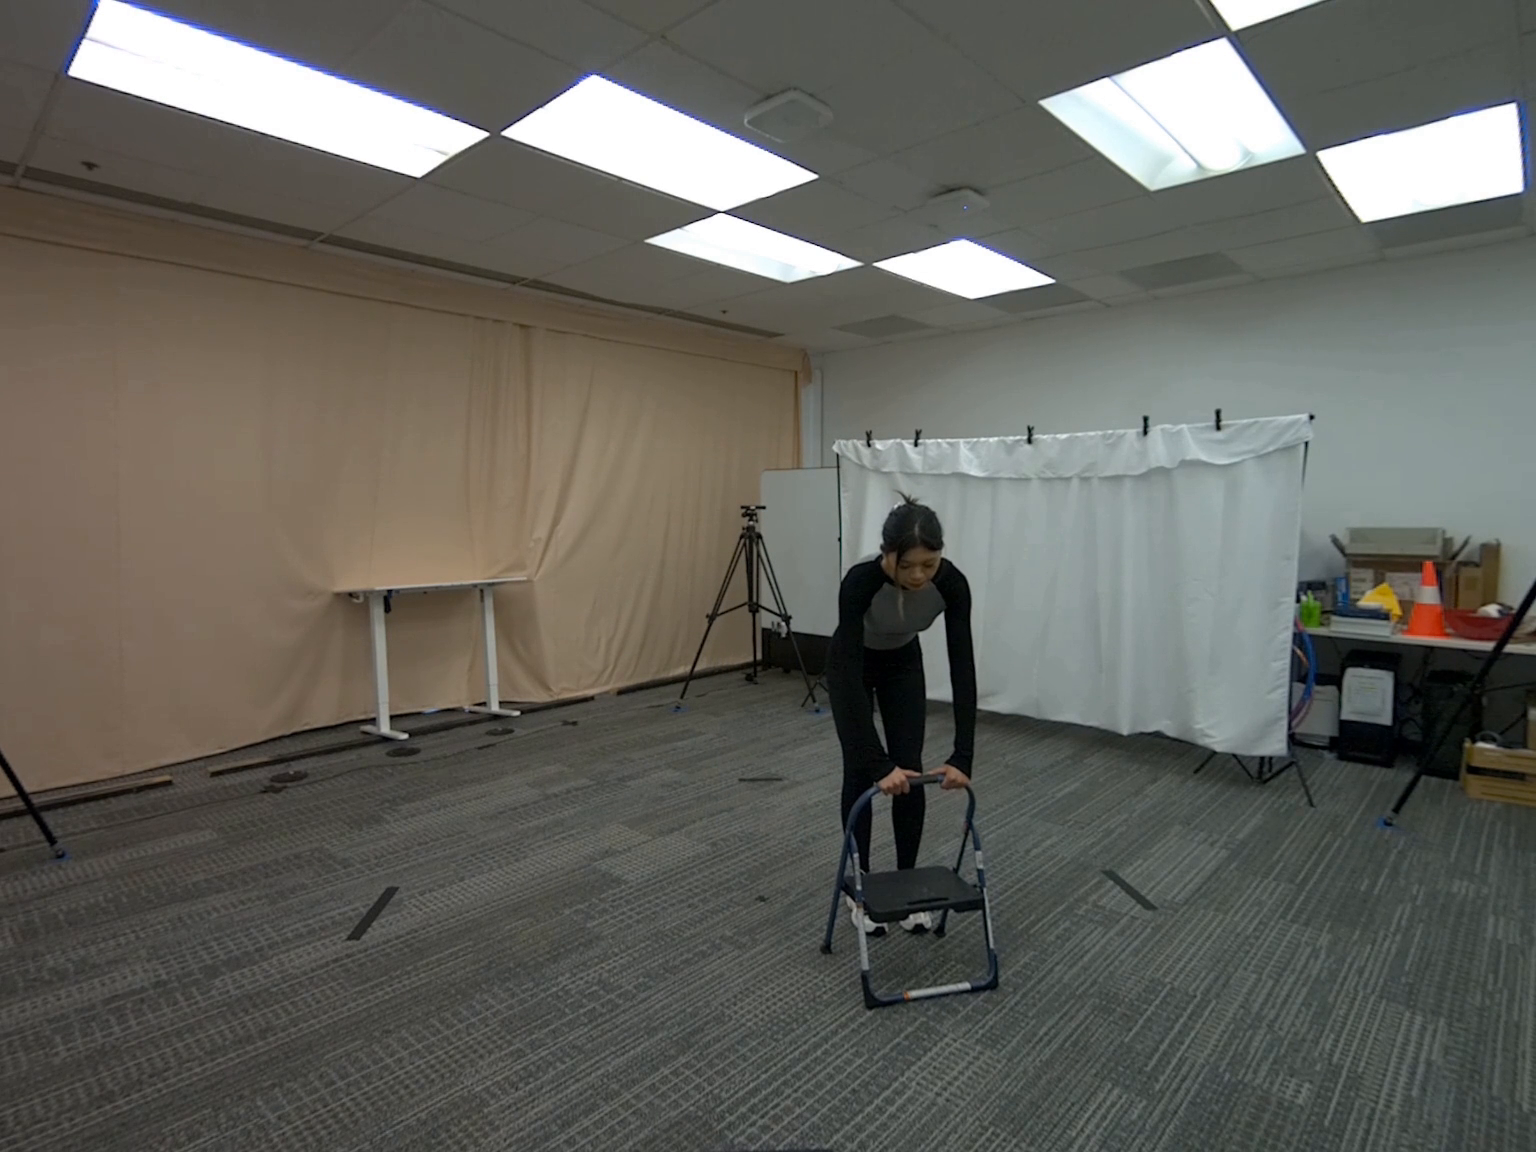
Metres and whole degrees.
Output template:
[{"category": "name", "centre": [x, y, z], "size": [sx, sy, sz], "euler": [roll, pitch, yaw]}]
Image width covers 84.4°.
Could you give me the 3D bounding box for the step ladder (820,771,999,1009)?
[{"category": "step ladder", "centre": [0.419, 0.875, 2.519], "size": [0.424, 0.605, 0.356], "euler": [-1, 3, -16]}]
